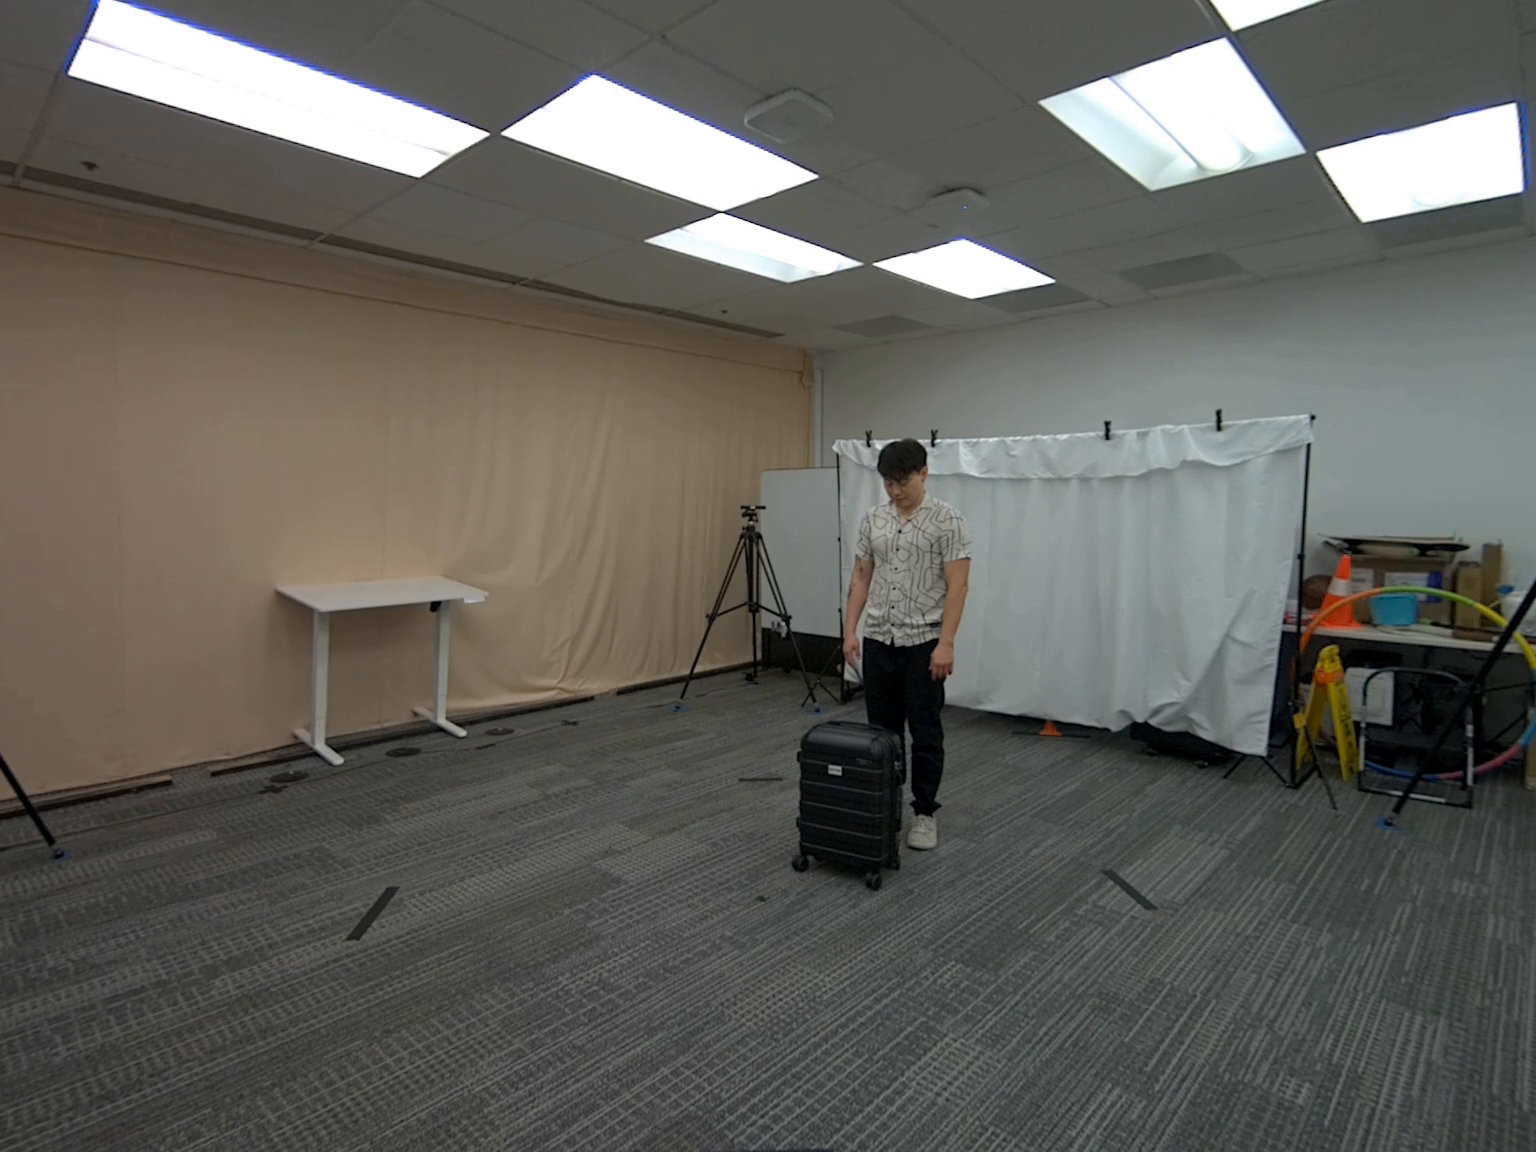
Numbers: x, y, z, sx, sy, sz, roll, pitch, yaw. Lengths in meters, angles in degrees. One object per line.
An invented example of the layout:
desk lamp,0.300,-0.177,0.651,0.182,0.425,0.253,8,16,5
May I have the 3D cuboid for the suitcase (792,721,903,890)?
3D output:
suitcase,0.319,0.845,3.224,0.386,0.548,0.241,3,3,30
